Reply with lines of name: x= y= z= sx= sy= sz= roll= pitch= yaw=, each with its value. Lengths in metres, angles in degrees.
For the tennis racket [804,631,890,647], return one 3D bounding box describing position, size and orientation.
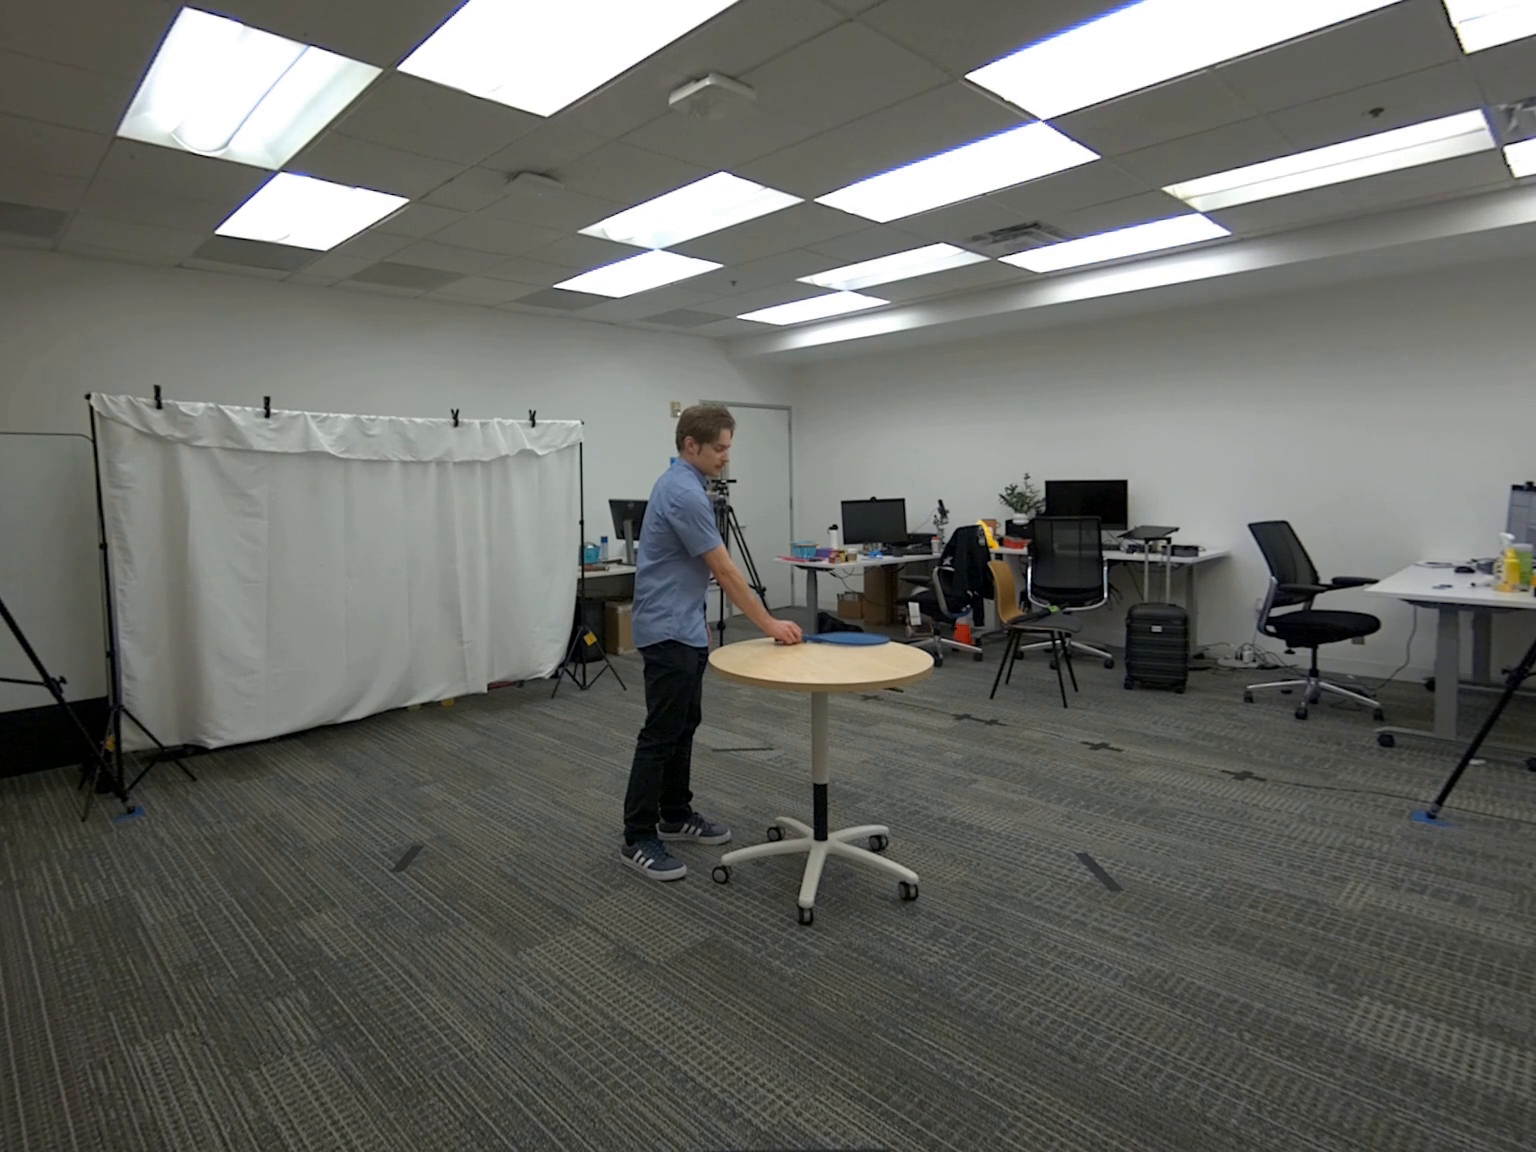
tennis racket: x=0.242 y=0.238 z=3.195 sx=0.431 sy=0.031 sz=0.215 roll=0 pitch=6 yaw=-3
